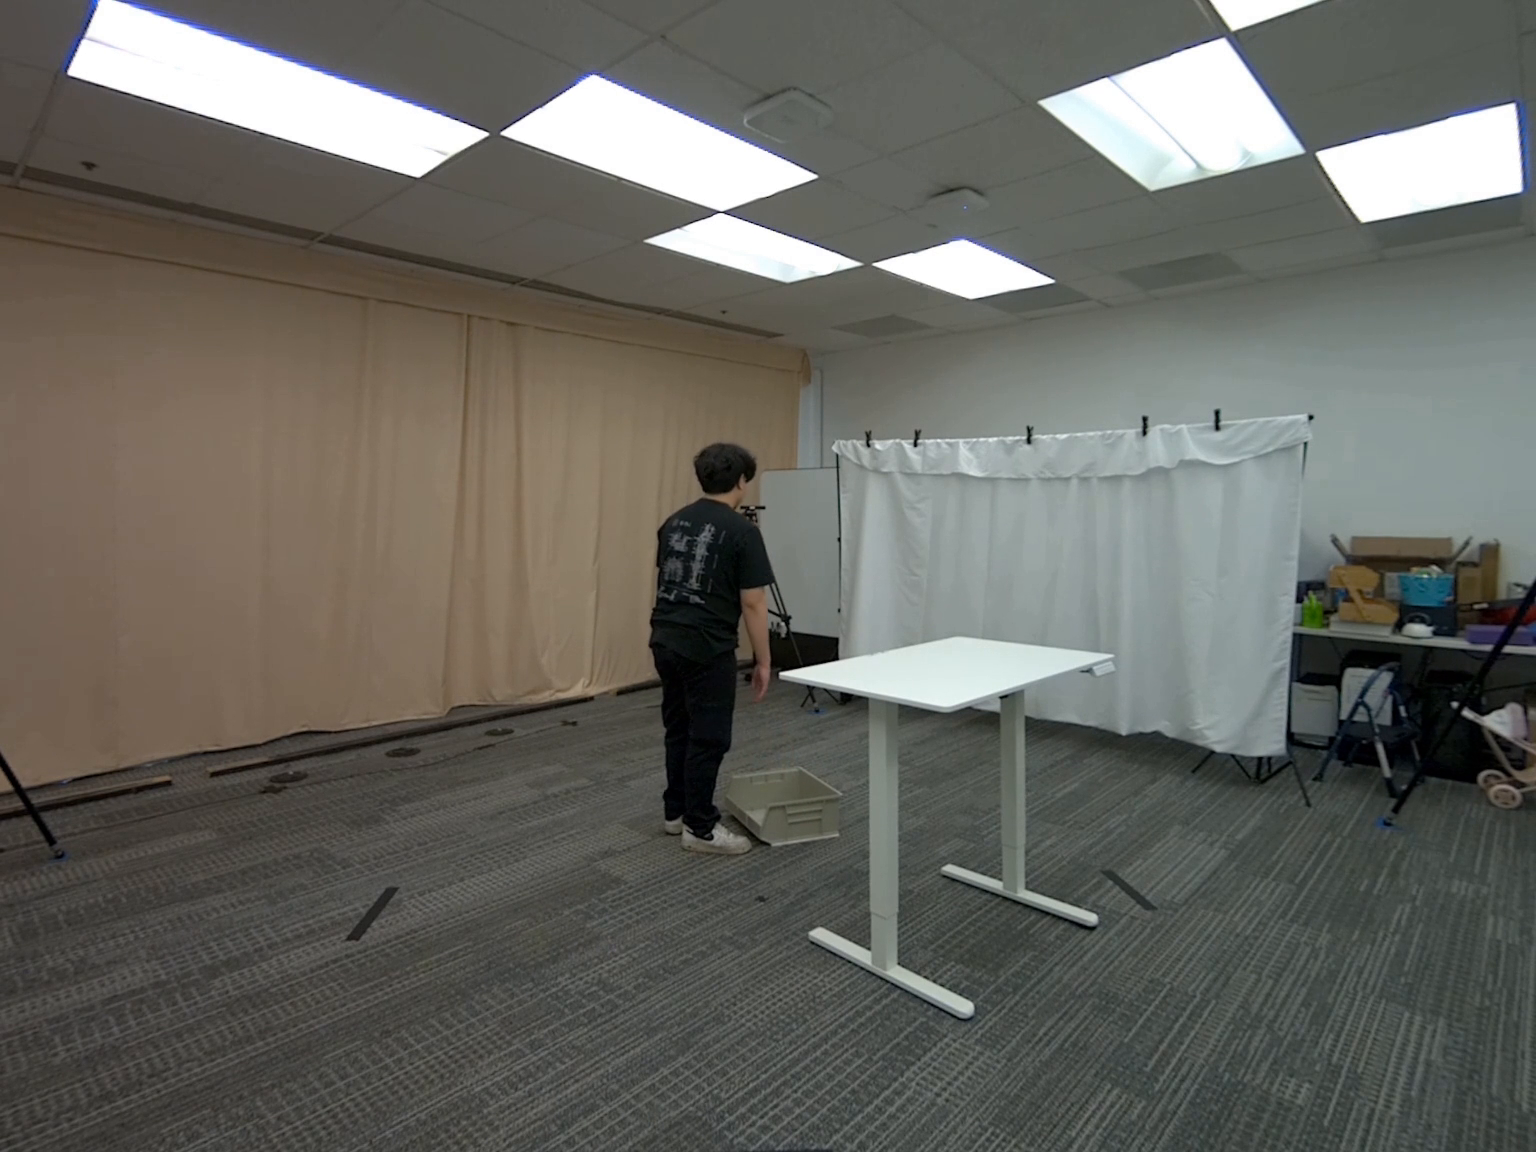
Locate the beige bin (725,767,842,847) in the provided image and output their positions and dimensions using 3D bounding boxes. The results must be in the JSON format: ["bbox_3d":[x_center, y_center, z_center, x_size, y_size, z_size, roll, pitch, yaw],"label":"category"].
[{"bbox_3d":[0.058,1.000,3.668,0.369,0.188,0.432,-1,4,-22],"label":"beige bin"}]
